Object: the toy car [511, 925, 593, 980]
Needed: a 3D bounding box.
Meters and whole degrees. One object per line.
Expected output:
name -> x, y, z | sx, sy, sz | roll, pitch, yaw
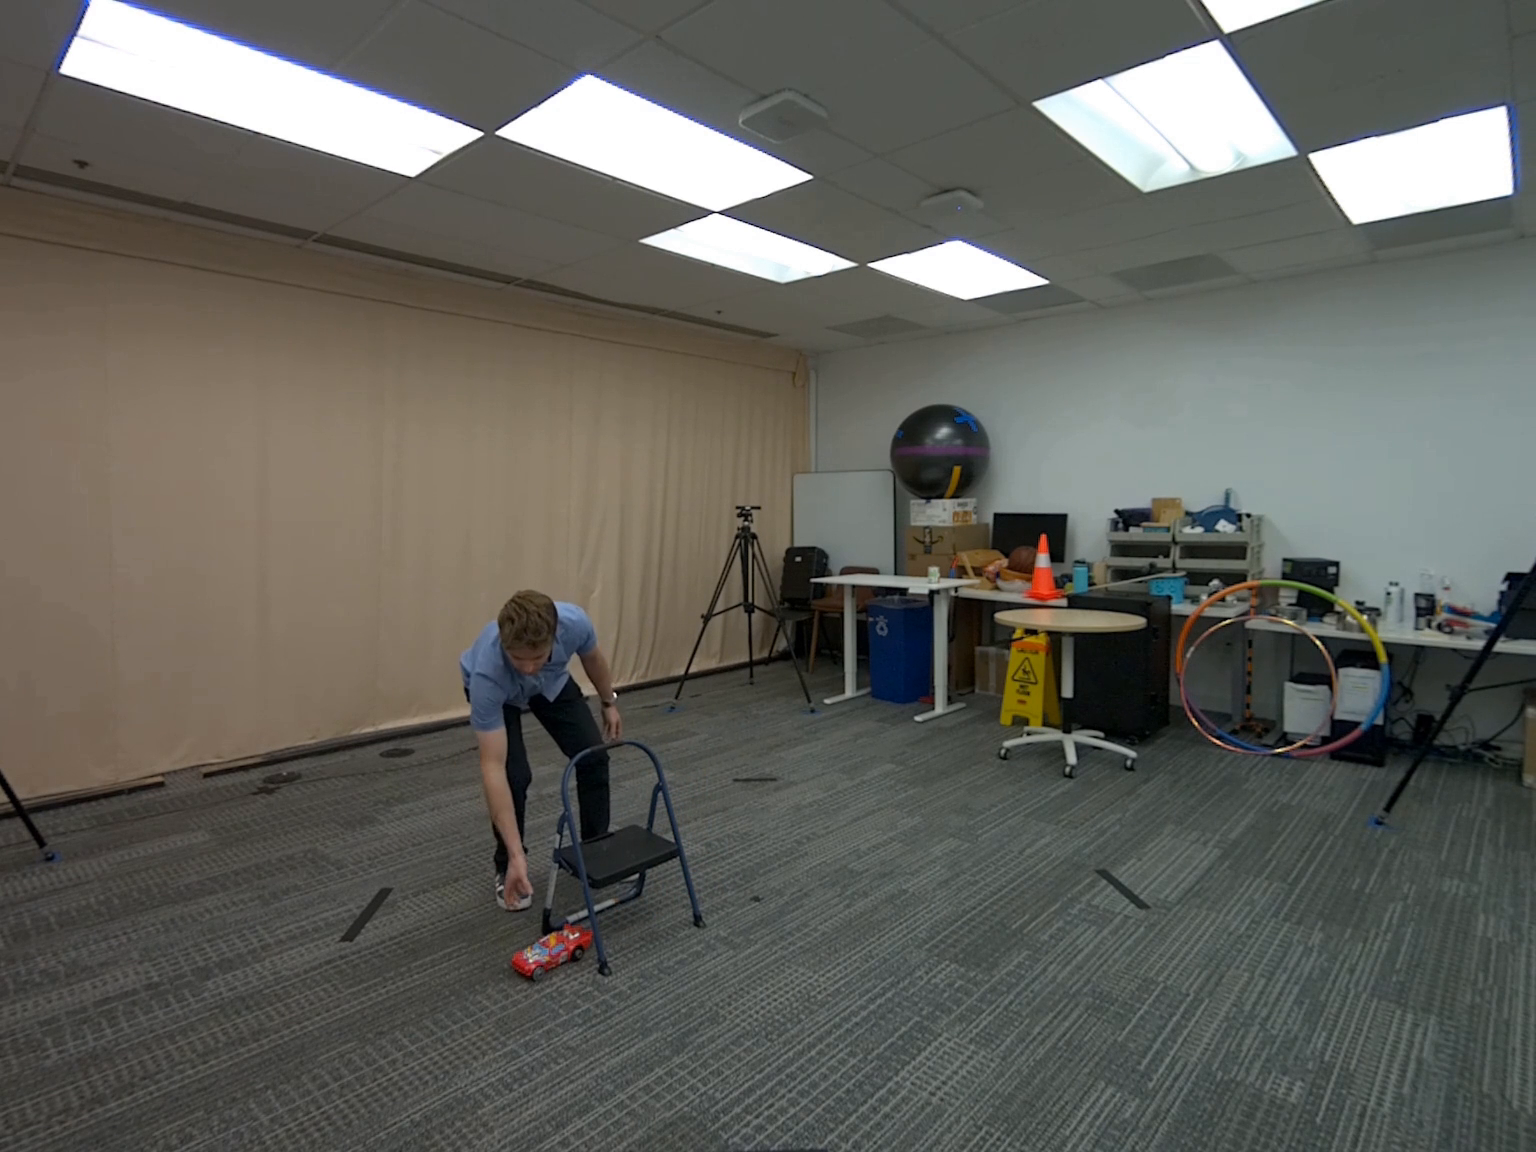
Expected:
toy car -> -0.663, 1.156, 2.571 | 0.134, 0.082, 0.248 | 2, 16, 43
